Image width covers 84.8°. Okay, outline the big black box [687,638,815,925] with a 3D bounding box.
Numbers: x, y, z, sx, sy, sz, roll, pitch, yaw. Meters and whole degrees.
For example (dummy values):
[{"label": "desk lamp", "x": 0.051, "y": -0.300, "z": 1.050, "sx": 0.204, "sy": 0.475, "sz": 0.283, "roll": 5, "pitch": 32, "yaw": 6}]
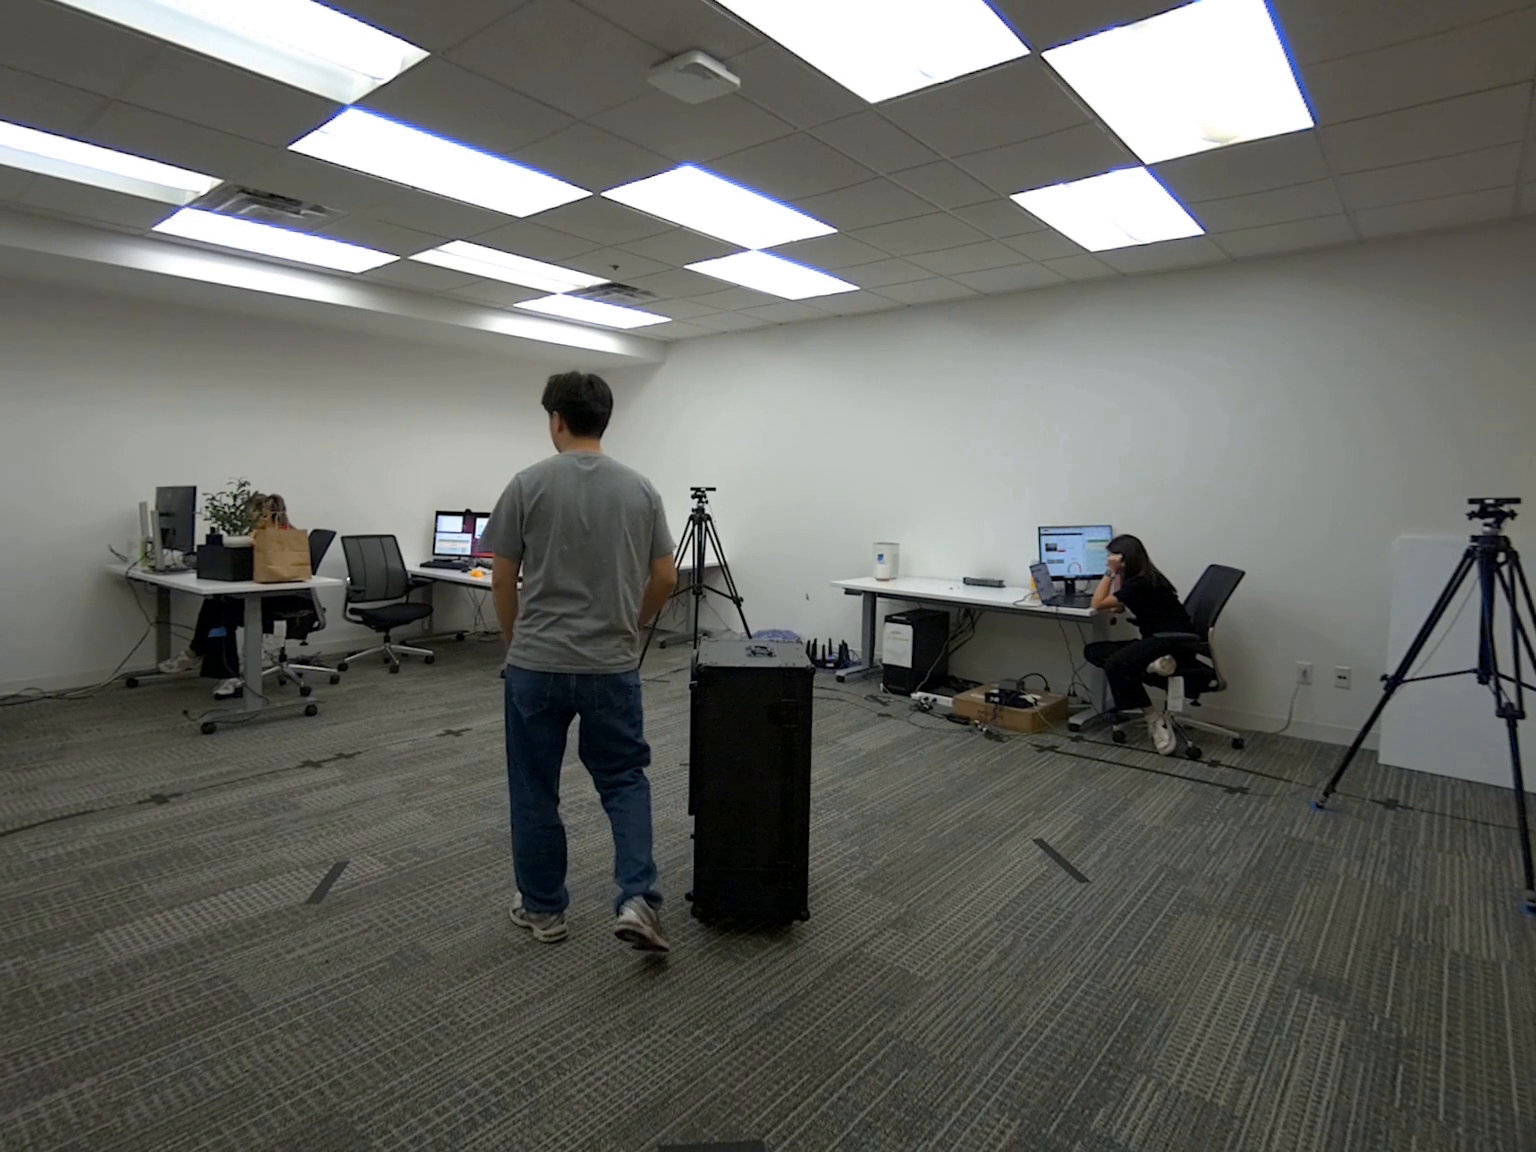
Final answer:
[{"label": "big black box", "x": -0.073, "y": 0.670, "z": 2.820, "sx": 0.396, "sy": 0.858, "sz": 0.524, "roll": 0, "pitch": 4, "yaw": -2}]
